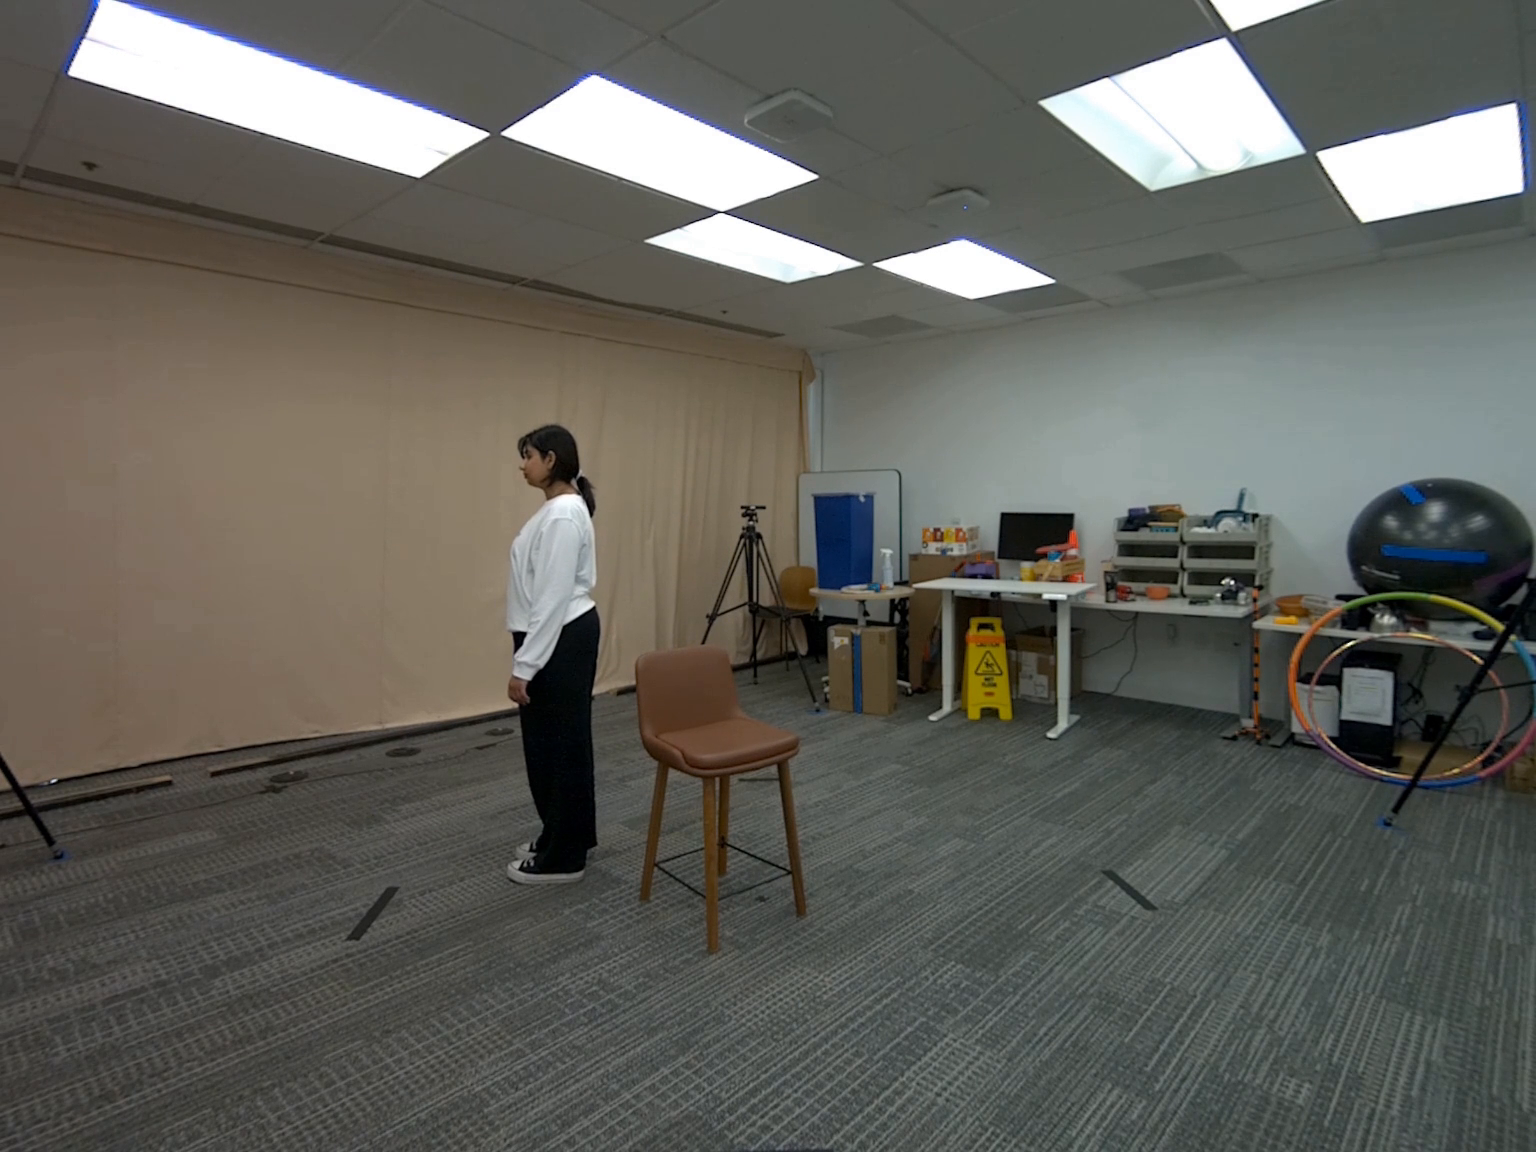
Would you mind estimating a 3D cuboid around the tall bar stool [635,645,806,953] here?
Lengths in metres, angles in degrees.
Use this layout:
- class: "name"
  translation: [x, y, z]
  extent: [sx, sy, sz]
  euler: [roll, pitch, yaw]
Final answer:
- class: "tall bar stool"
  translation: [-0.169, 0.716, 2.893]
  extent: [0.443, 0.889, 0.482]
  euler: [-3, 2, -39]
